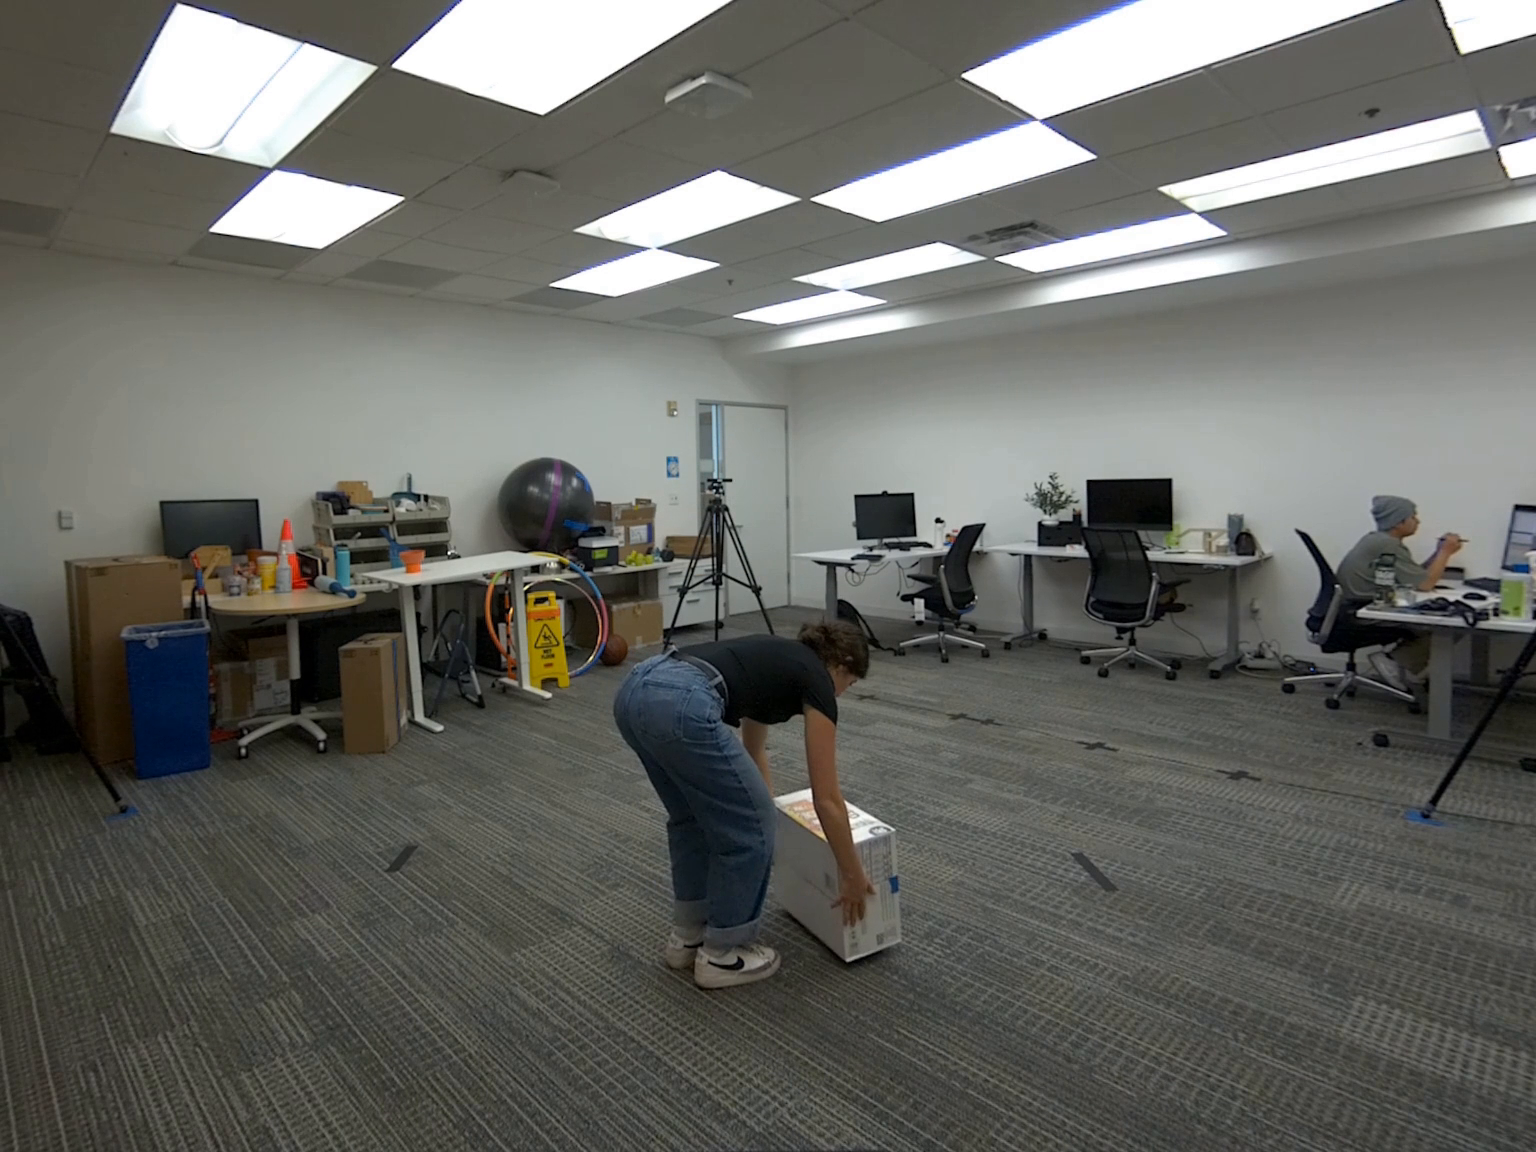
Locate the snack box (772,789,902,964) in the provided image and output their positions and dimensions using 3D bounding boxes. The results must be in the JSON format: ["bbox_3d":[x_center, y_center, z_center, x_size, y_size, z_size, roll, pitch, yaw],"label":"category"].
[{"bbox_3d":[0.202,0.897,2.621,0.201,0.338,0.416,-8,8,-28],"label":"snack box"}]
